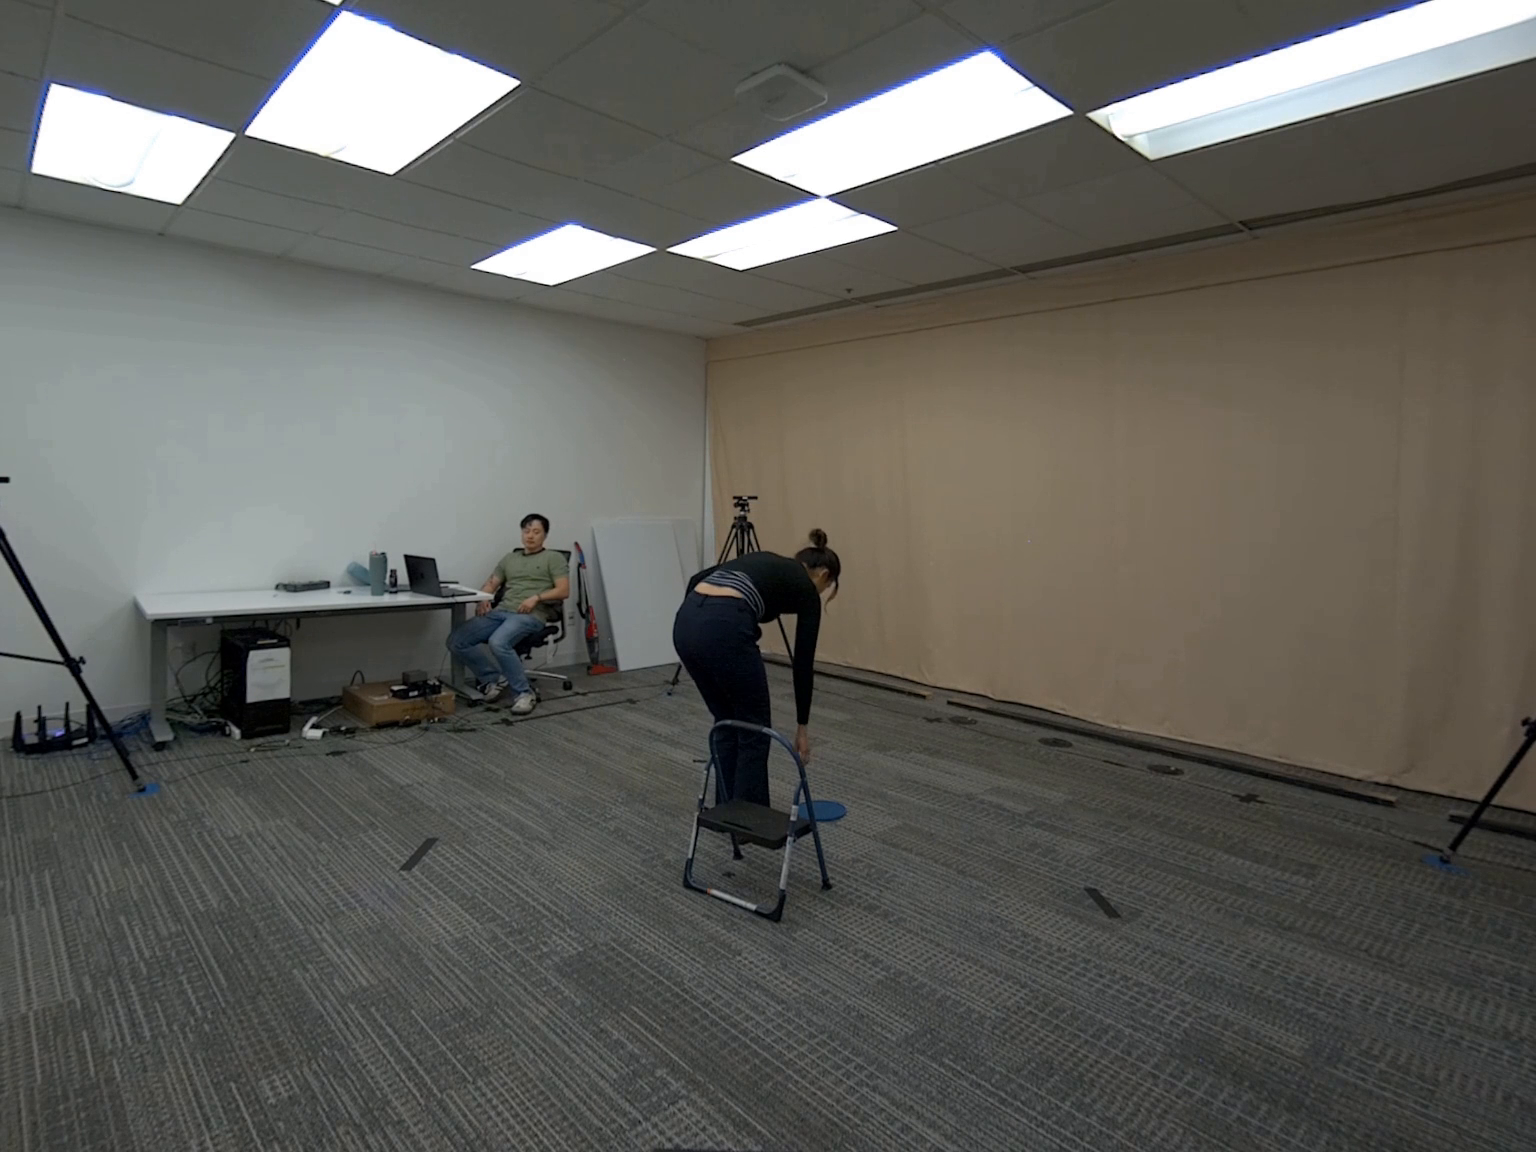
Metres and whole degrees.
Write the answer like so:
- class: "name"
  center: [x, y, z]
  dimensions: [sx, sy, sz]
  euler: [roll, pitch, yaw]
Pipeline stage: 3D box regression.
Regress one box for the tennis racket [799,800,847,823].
- class: "tennis racket"
  center: [0.185, 1.042, 3.684]
  dimensions: [0.218, 0.032, 0.425]
  euler: [4, 5, 27]
